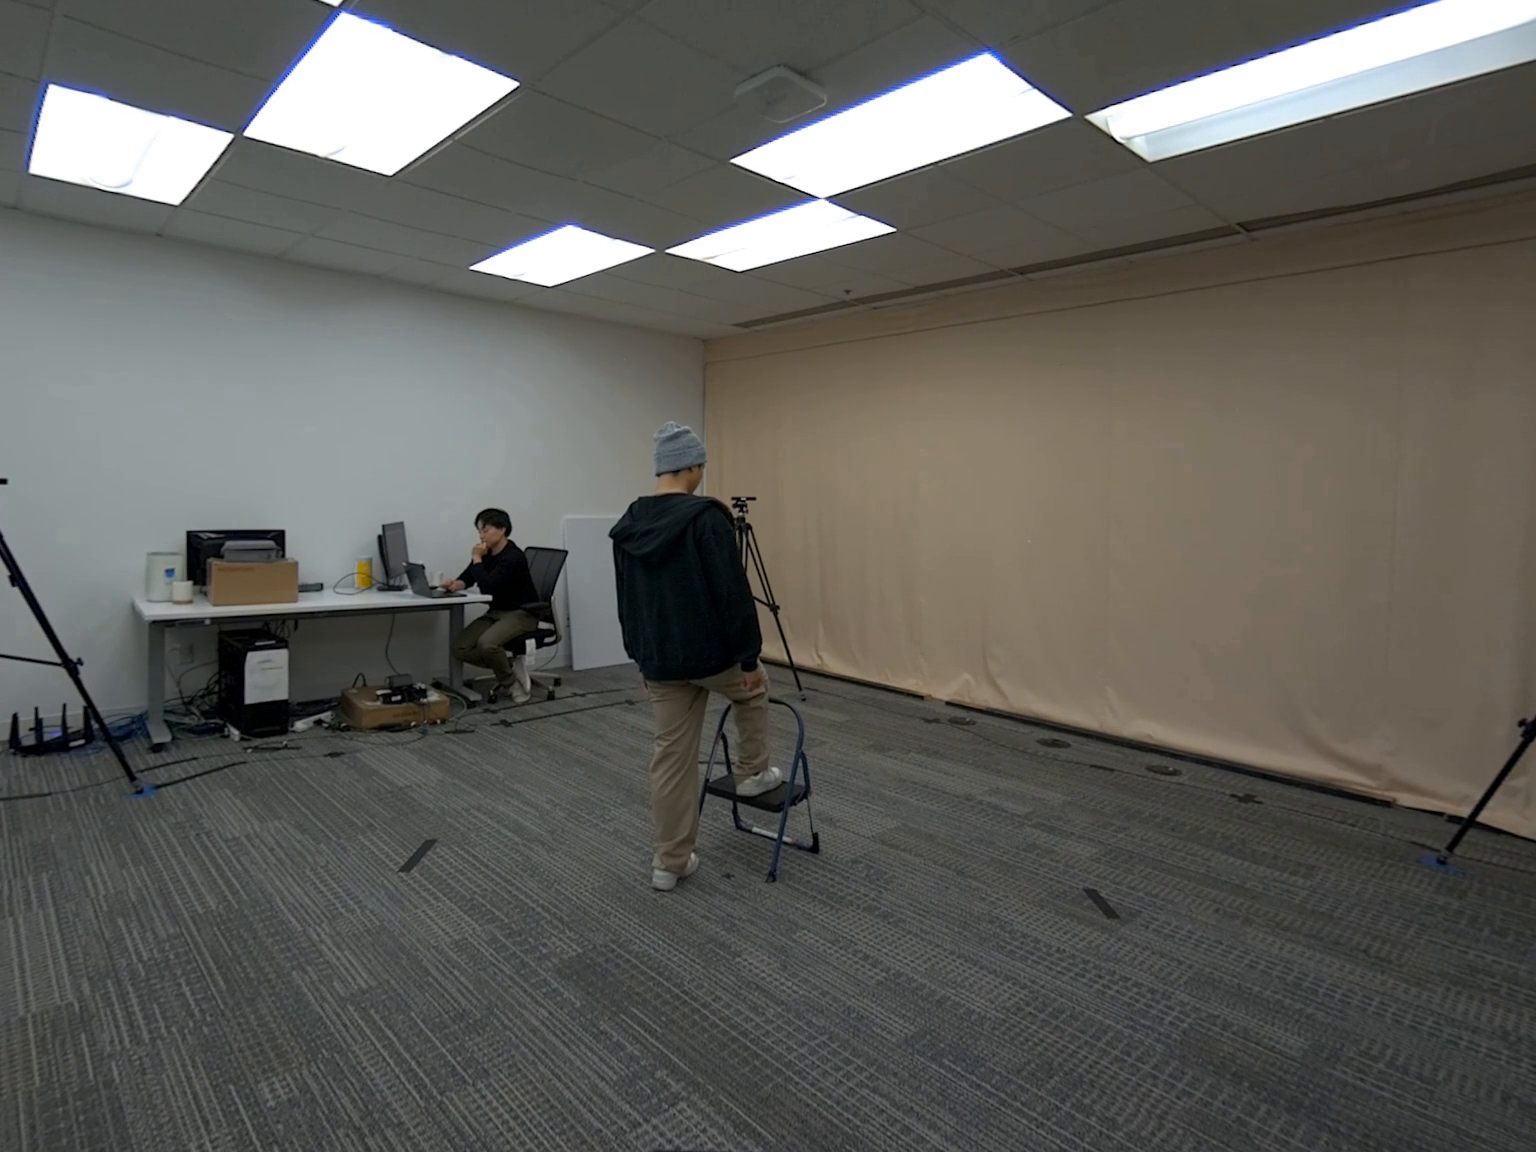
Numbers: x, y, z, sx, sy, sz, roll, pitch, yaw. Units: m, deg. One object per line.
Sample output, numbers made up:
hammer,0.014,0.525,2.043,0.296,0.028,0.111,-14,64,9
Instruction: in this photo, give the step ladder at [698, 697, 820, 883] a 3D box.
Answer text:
step ladder,-0.055,0.789,3.308,0.441,0.605,0.341,4,4,36
